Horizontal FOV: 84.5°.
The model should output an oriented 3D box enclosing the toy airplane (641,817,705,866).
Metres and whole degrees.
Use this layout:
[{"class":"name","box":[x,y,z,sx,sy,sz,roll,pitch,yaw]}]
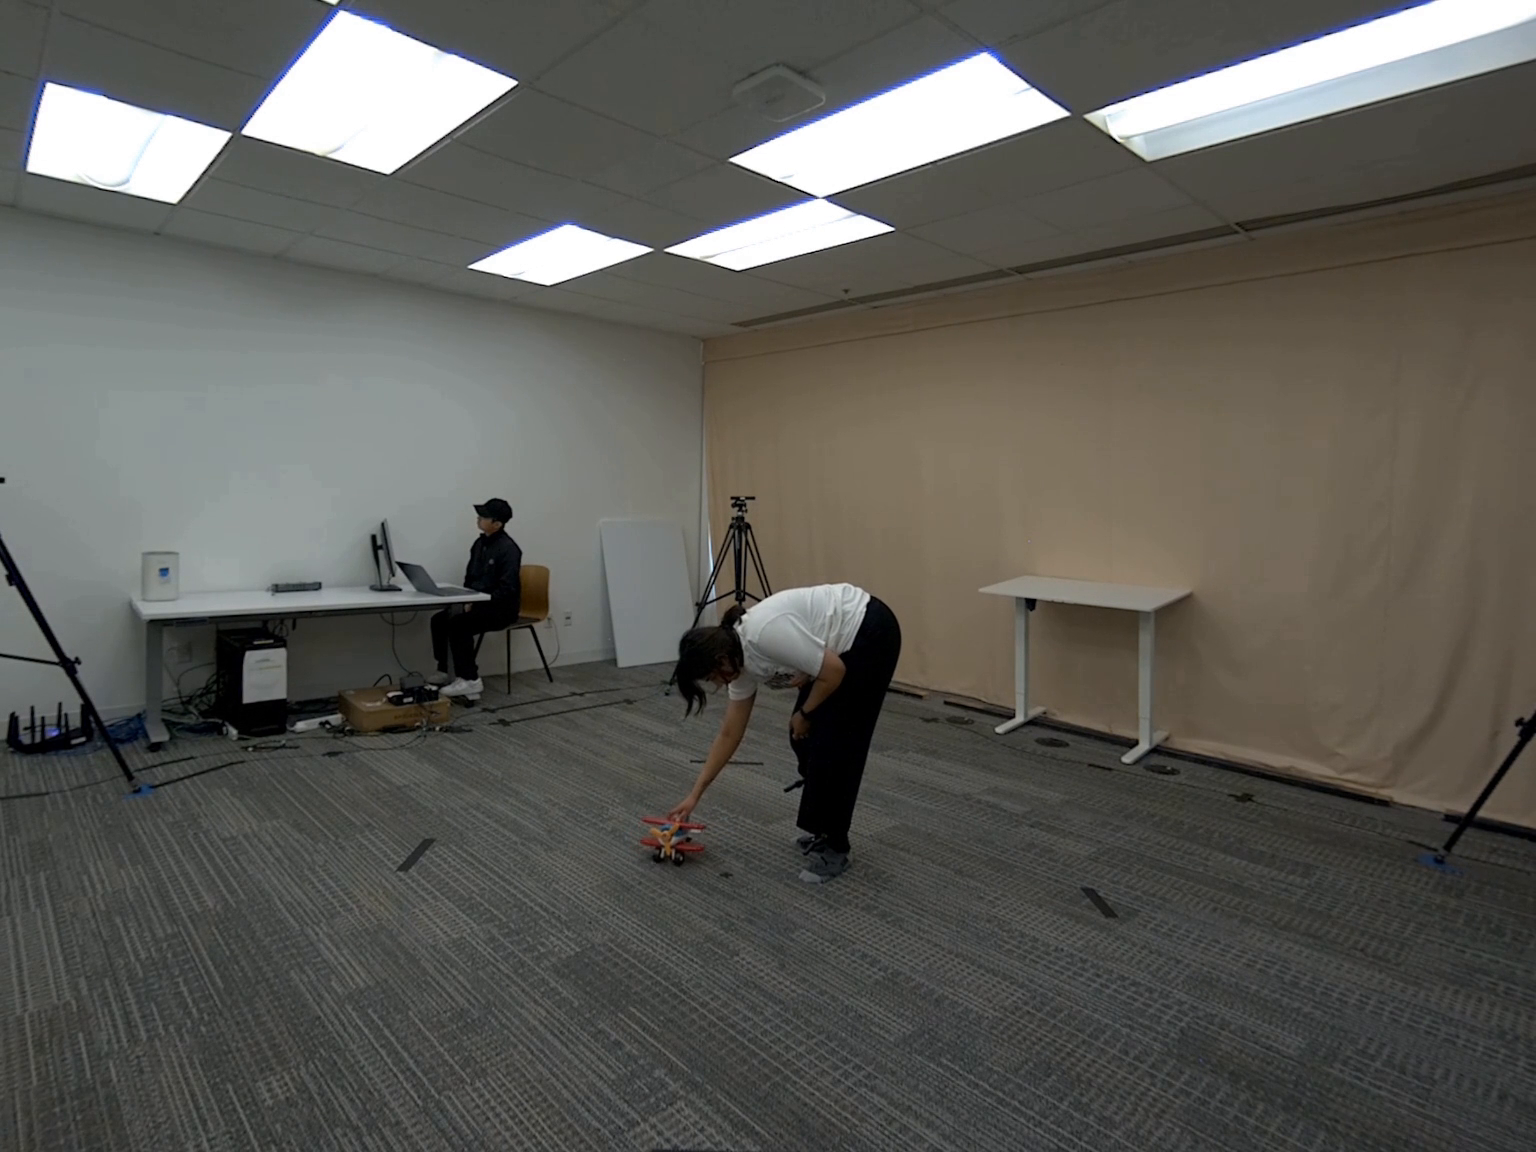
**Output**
[{"class":"toy airplane","box":[-0.382,1.004,3.275,0.249,0.156,0.262,0,6,-12]}]
